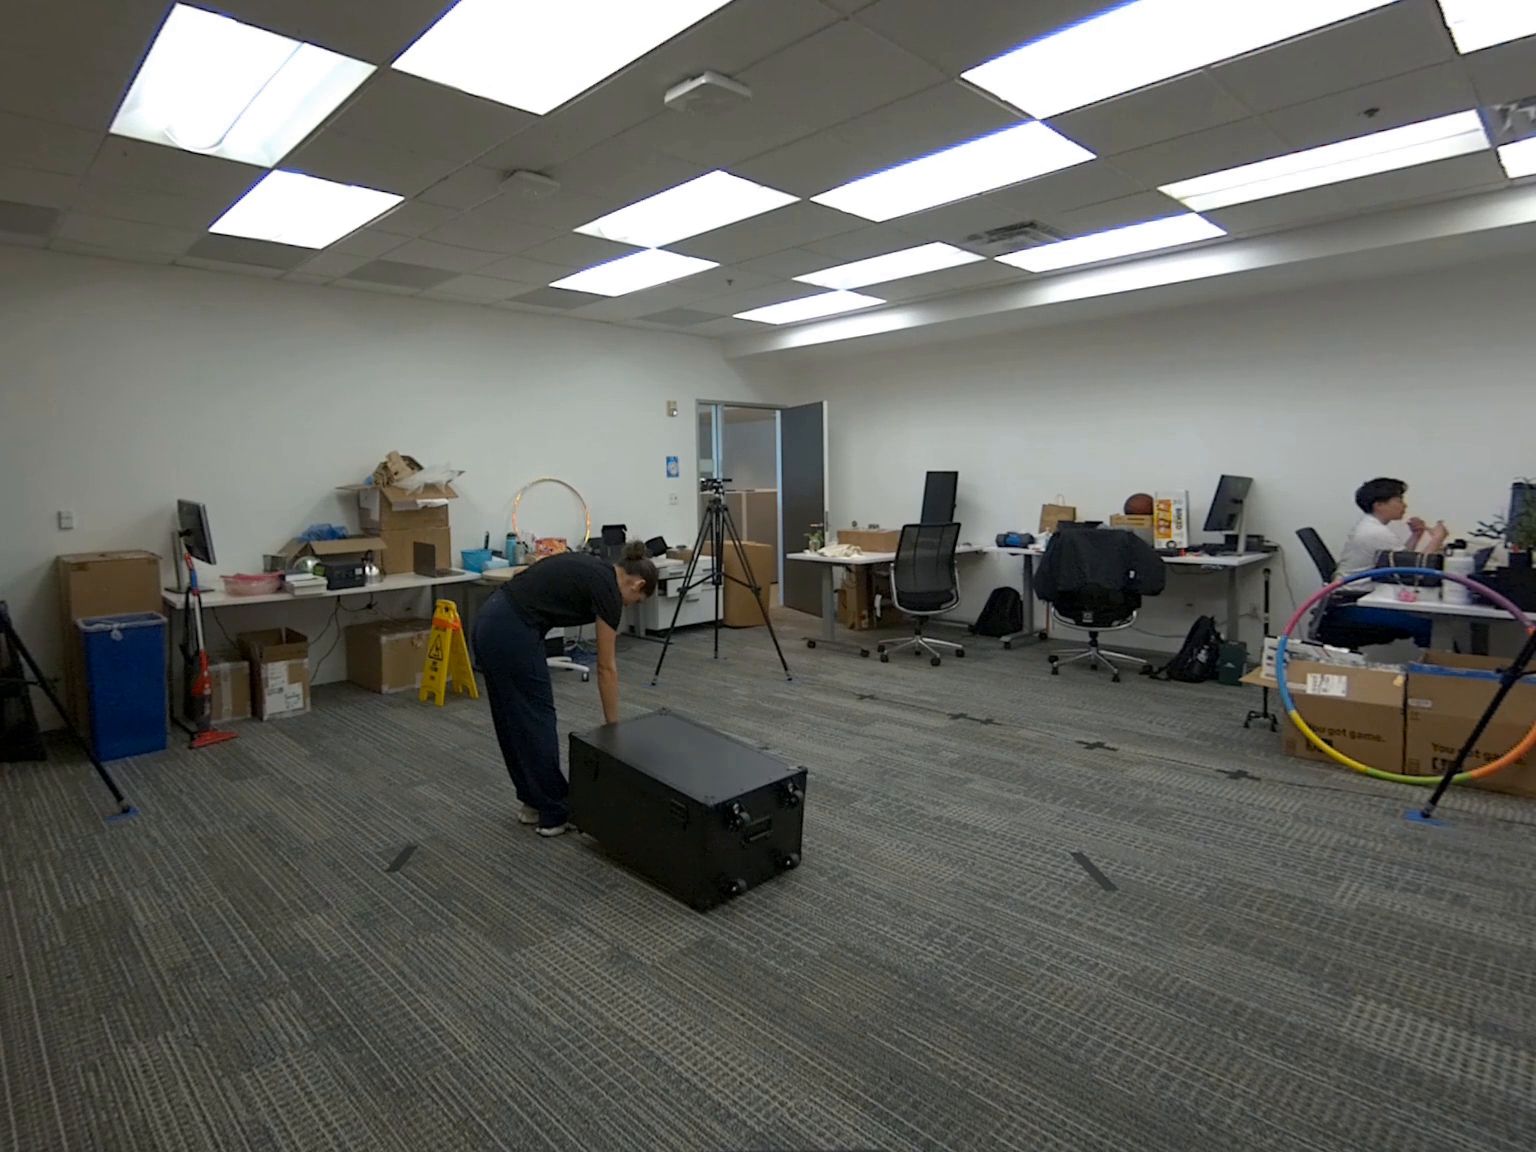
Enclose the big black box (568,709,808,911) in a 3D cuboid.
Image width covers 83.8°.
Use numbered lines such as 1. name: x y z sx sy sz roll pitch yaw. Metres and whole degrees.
1. big black box: -0.292 0.813 3.146 0.890 0.393 0.508 11 12 43
